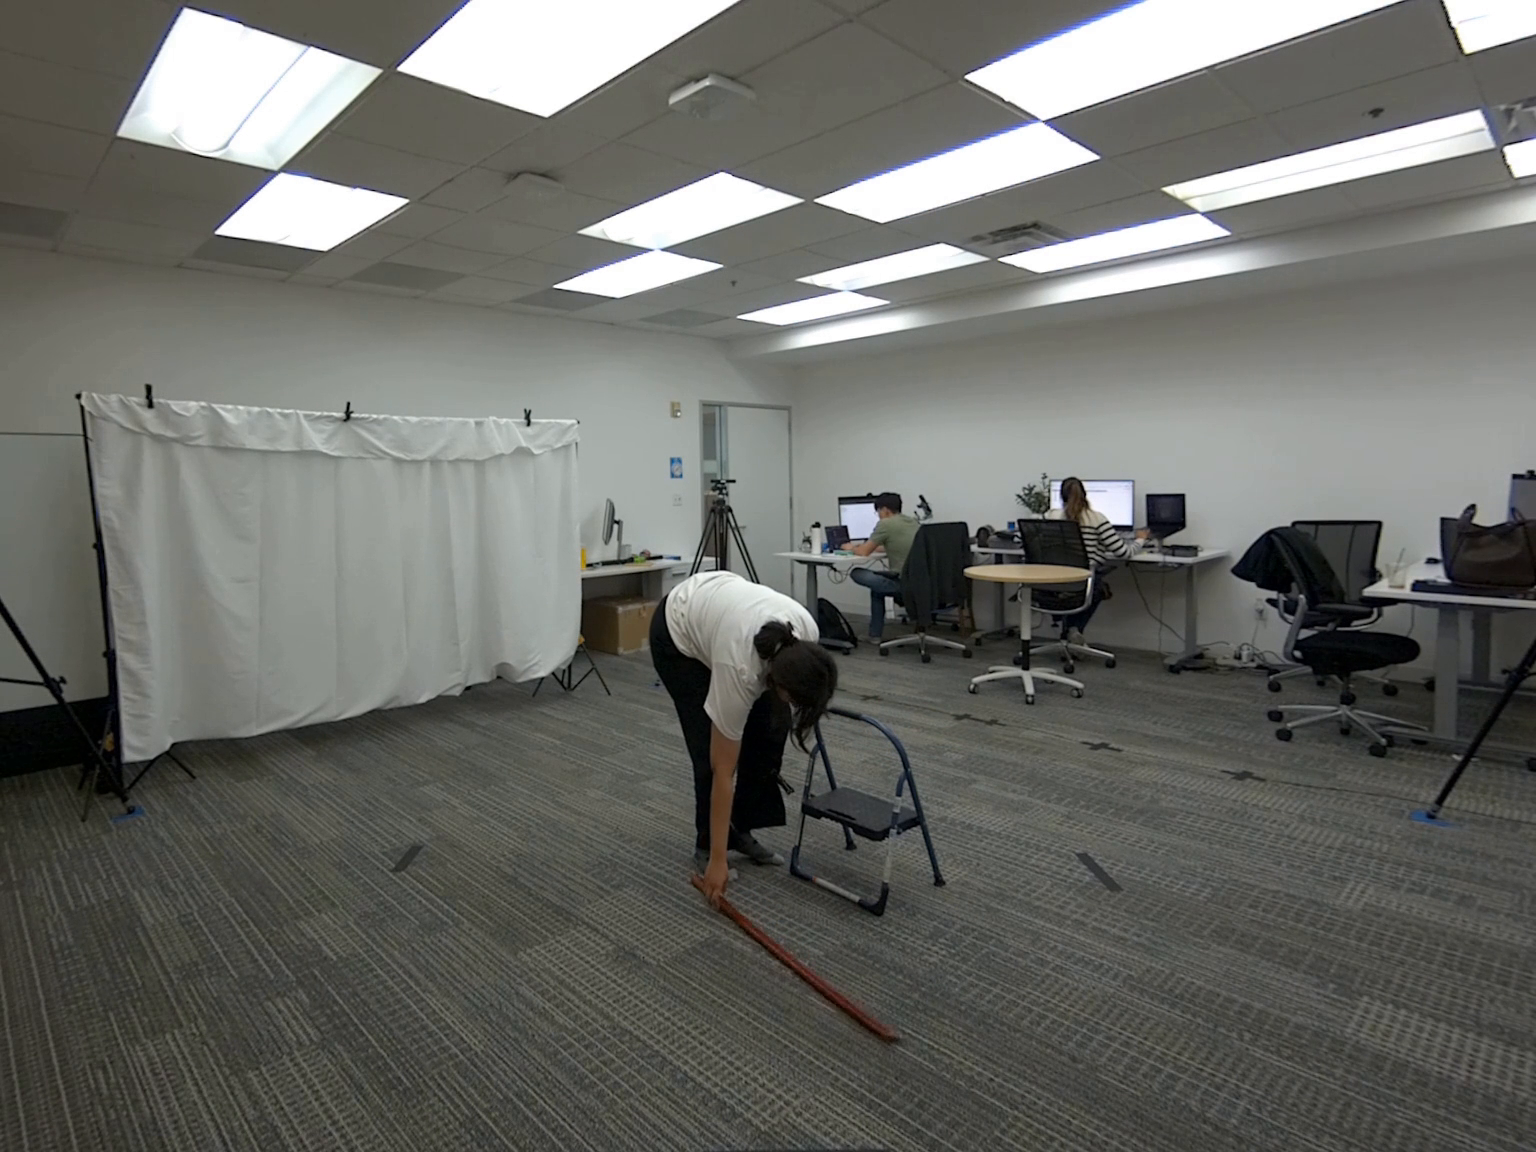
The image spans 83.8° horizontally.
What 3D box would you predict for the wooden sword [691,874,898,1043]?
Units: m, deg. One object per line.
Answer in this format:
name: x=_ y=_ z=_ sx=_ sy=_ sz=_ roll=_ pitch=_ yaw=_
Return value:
wooden sword: x=0.022 y=1.097 z=2.541 sx=0.023 sy=0.051 sz=1.054 roll=39 pitch=-16 yaw=-29
